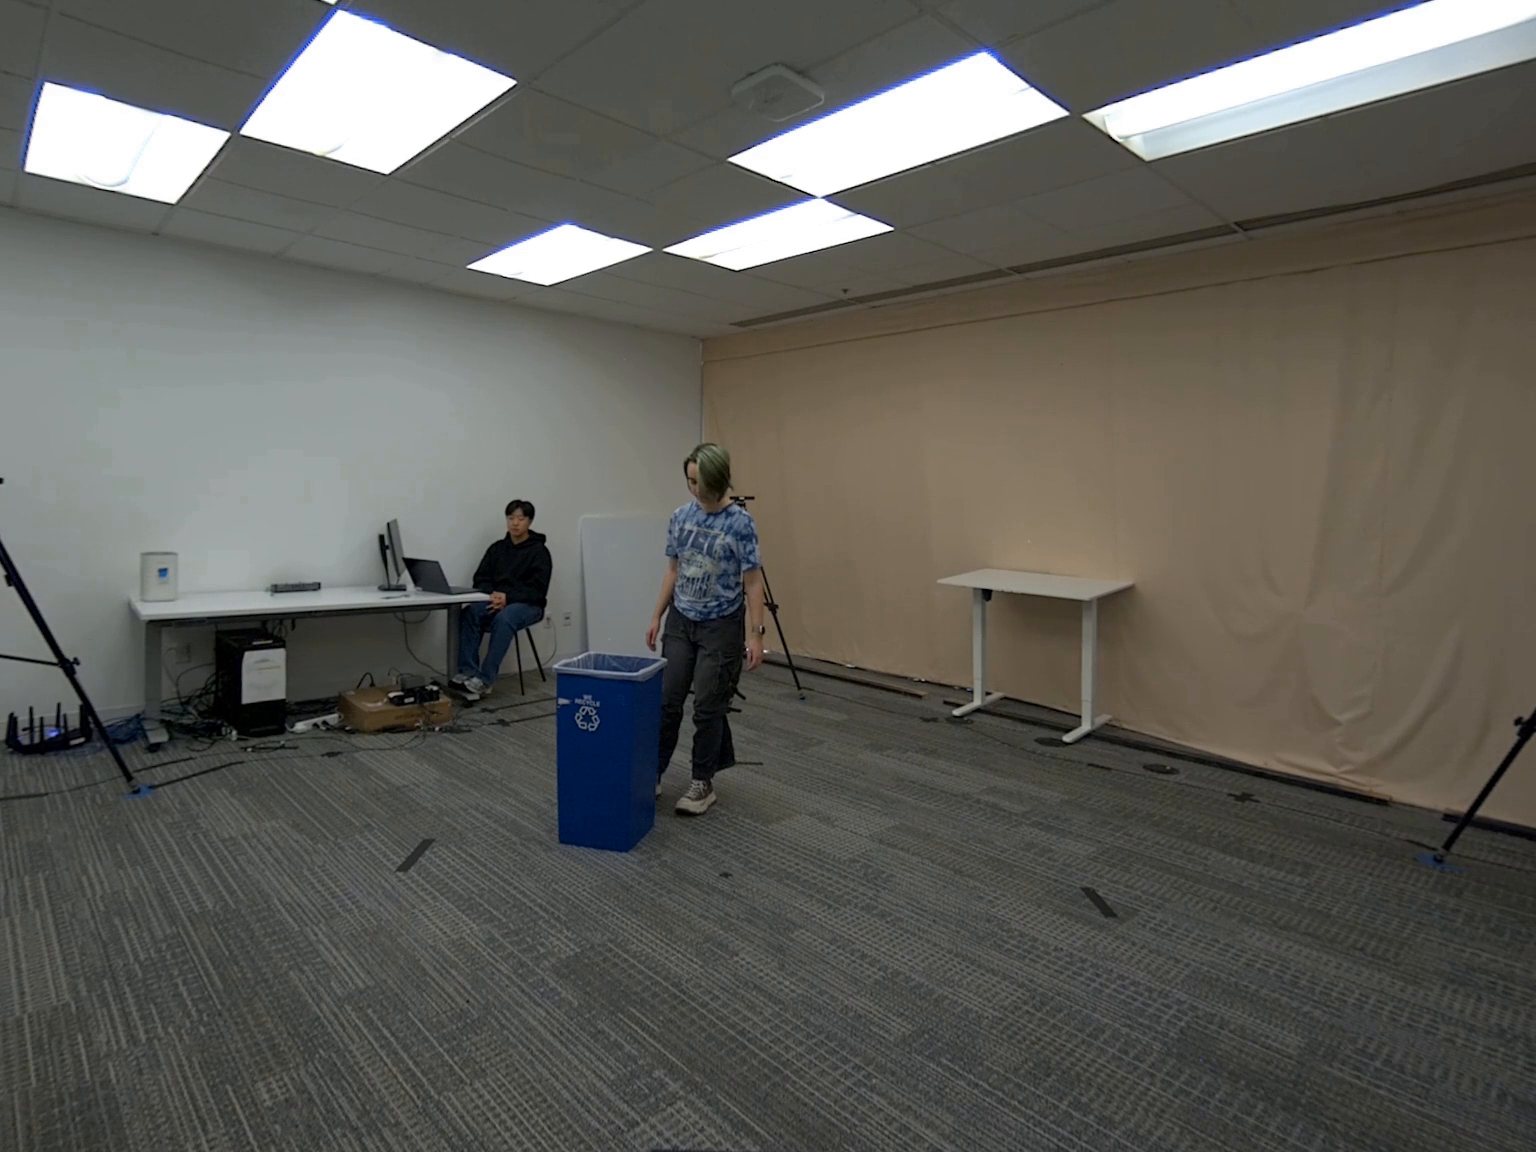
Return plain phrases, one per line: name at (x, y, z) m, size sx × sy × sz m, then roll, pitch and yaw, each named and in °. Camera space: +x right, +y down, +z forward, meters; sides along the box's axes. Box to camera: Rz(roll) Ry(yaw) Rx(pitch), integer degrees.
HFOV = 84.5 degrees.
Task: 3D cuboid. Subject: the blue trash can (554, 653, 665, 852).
blue trash can at (-0.653, 0.707, 3.437) m, size 0.379 × 0.711 × 0.374 m, roll 3°, pitch 4°, yaw 15°
